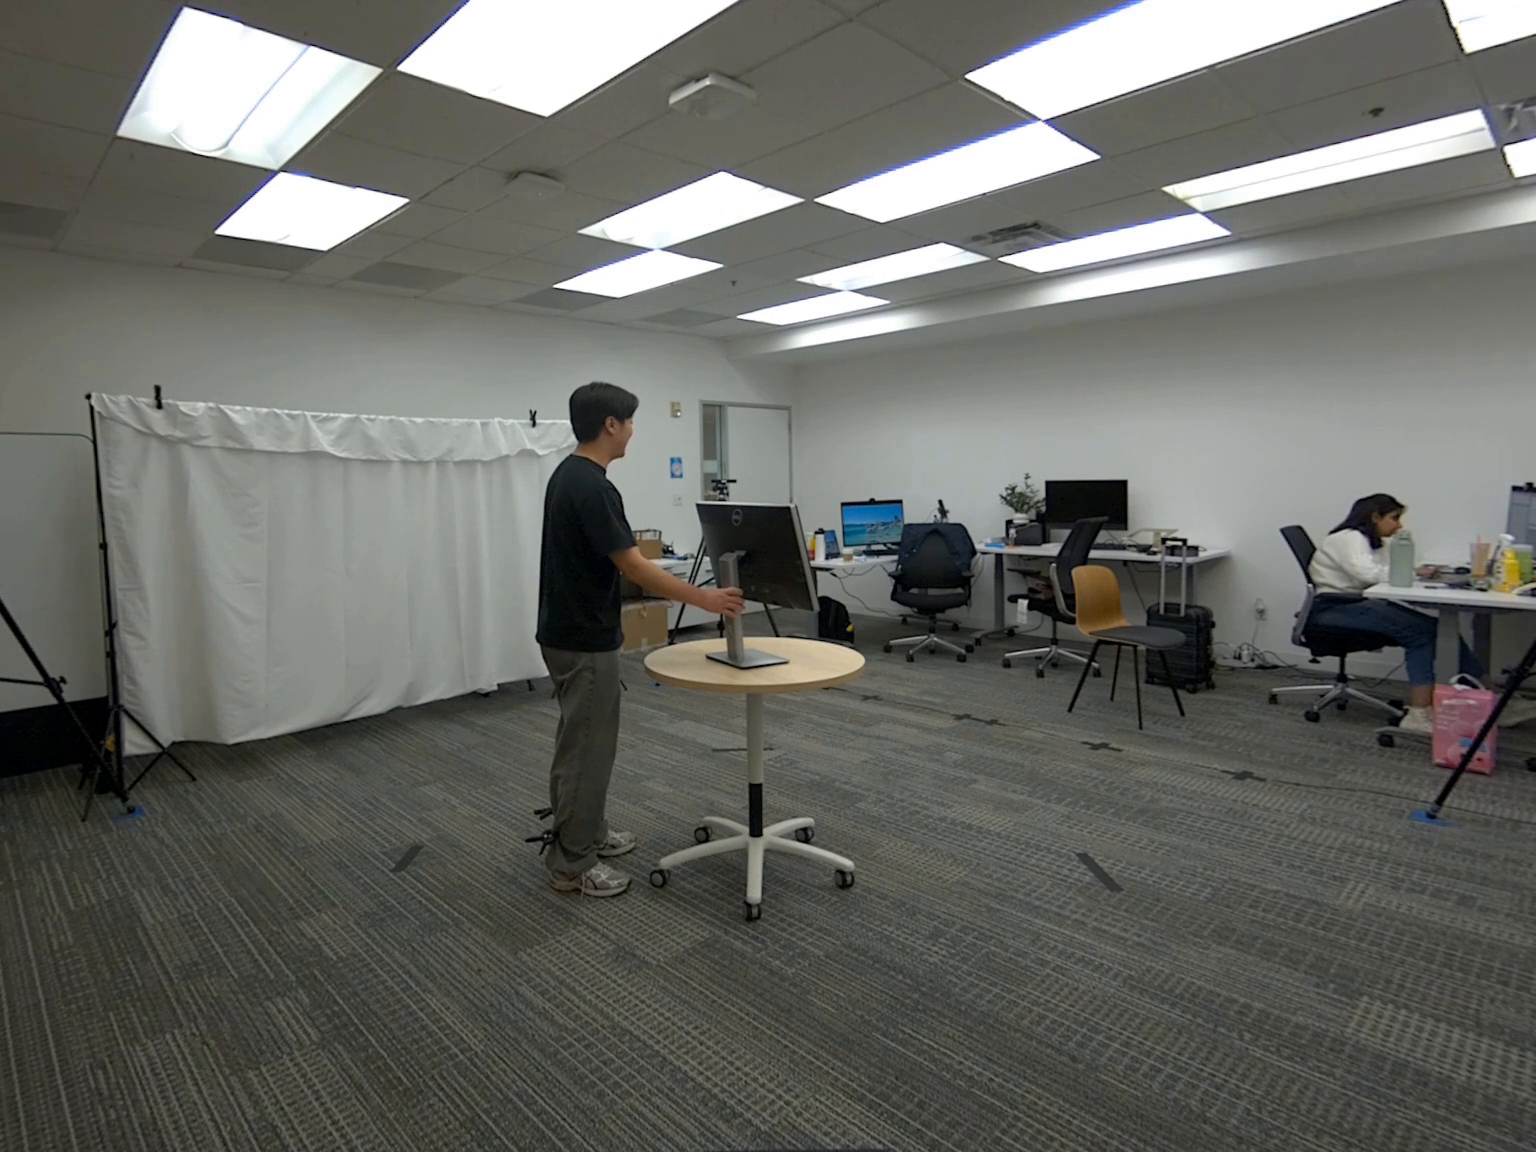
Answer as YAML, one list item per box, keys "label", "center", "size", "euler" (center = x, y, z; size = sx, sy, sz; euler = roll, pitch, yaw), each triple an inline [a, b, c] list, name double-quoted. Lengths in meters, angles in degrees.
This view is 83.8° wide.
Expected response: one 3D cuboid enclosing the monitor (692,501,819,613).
- label: "monitor"
  center: [-0.072, 0.030, 2.933]
  size: [0.216, 0.564, 0.578]
  euler: [-2, 6, -33]
